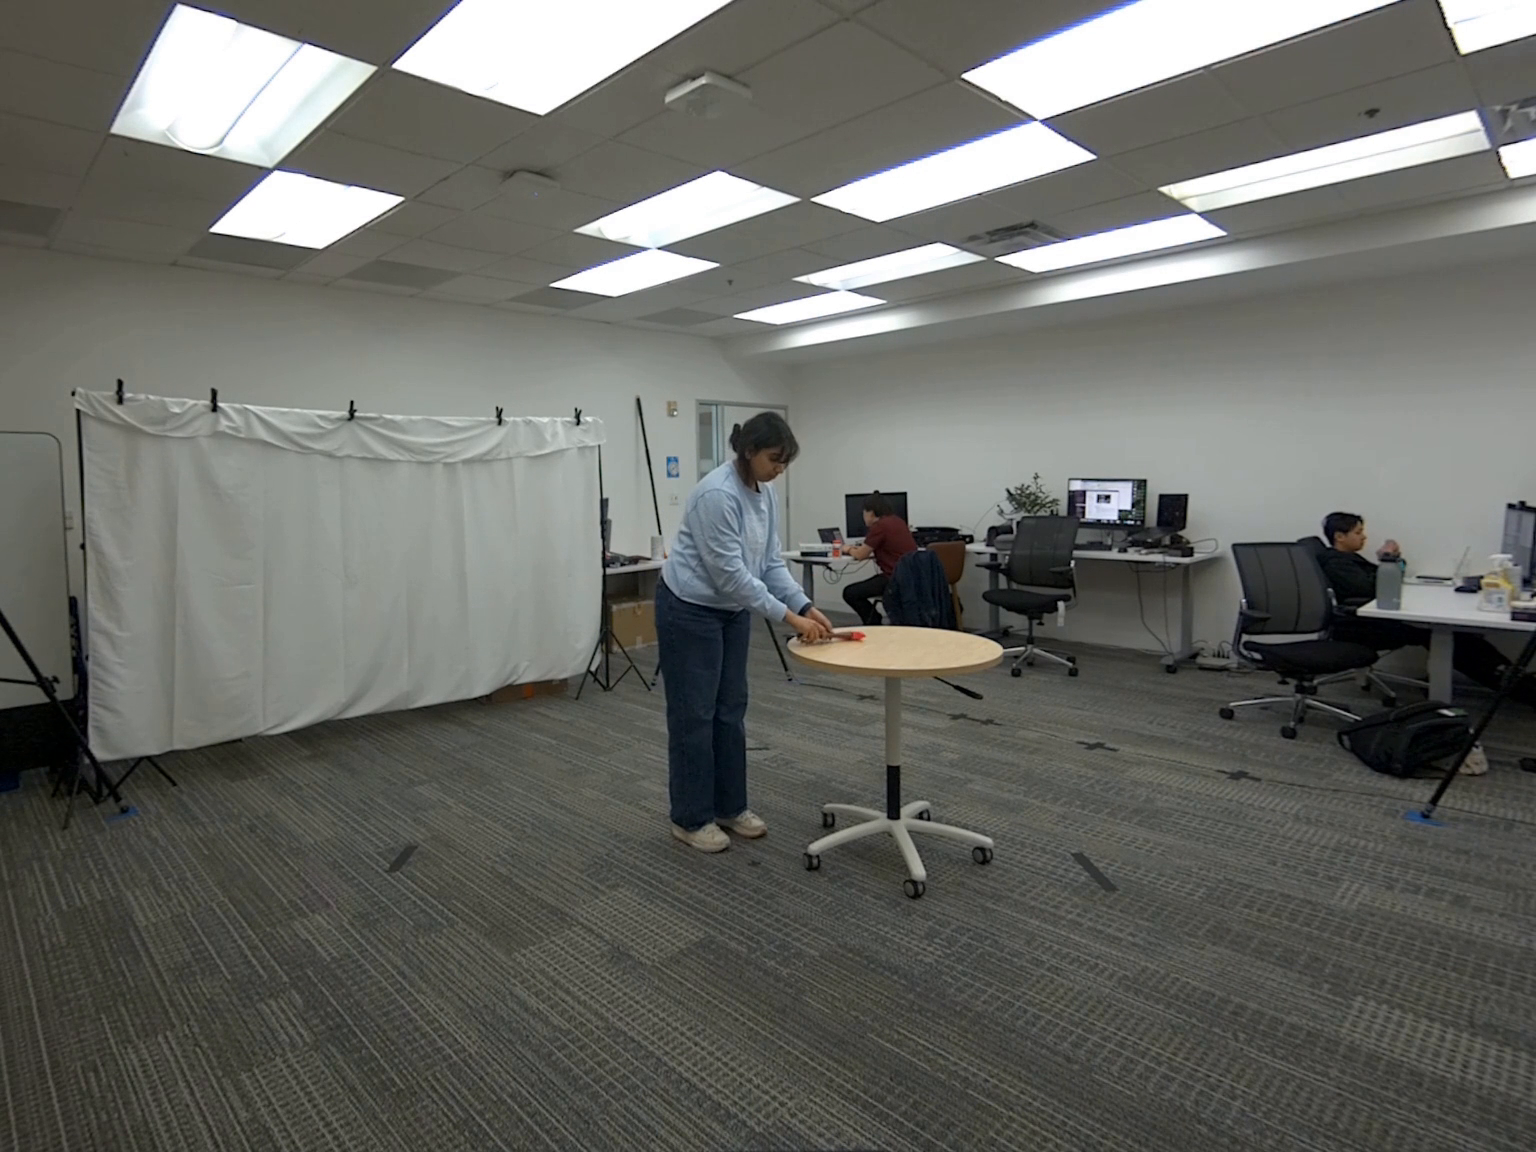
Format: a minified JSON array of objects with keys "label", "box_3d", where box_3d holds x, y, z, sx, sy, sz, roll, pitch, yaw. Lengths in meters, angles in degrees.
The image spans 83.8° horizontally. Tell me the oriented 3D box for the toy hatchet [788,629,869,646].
[{"label":"toy hatchet","box_3d":[0.222,0.227,3.198,0.267,0.029,0.132,-3,1,-13]}]
